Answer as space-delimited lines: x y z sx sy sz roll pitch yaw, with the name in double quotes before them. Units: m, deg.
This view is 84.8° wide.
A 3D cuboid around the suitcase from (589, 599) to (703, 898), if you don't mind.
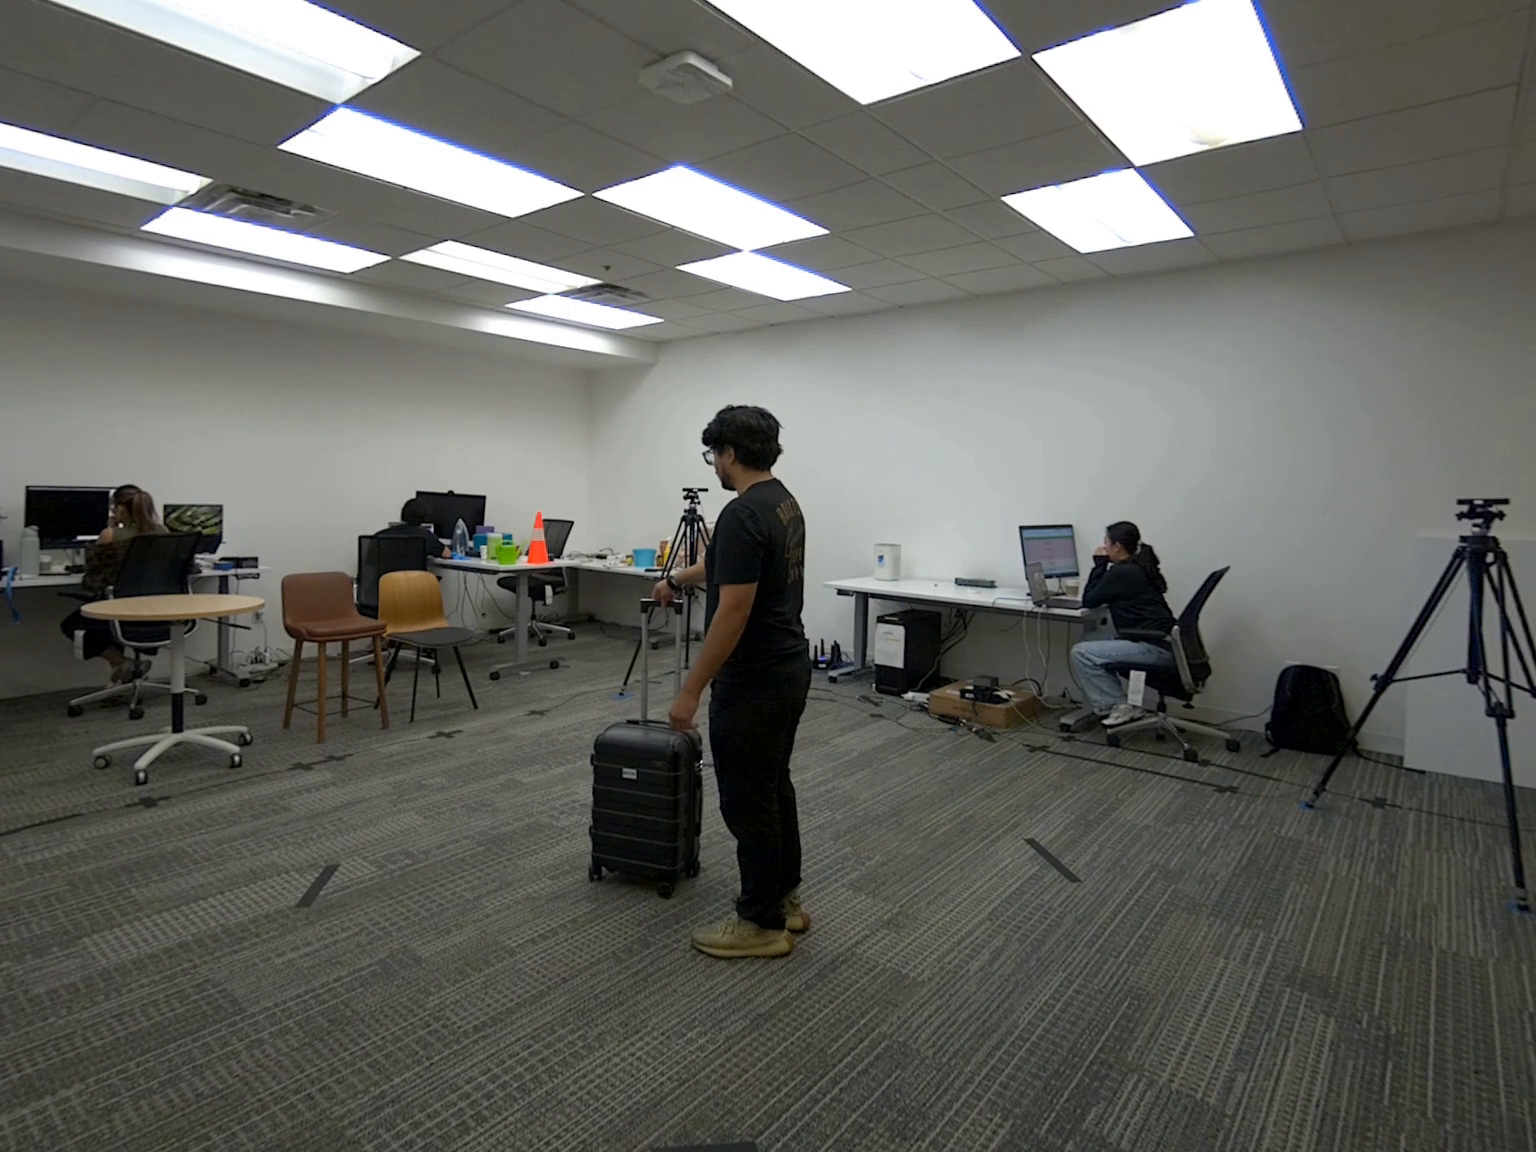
"suitcase" -0.435 0.598 3.012 0.392 0.975 0.253 3 4 19
